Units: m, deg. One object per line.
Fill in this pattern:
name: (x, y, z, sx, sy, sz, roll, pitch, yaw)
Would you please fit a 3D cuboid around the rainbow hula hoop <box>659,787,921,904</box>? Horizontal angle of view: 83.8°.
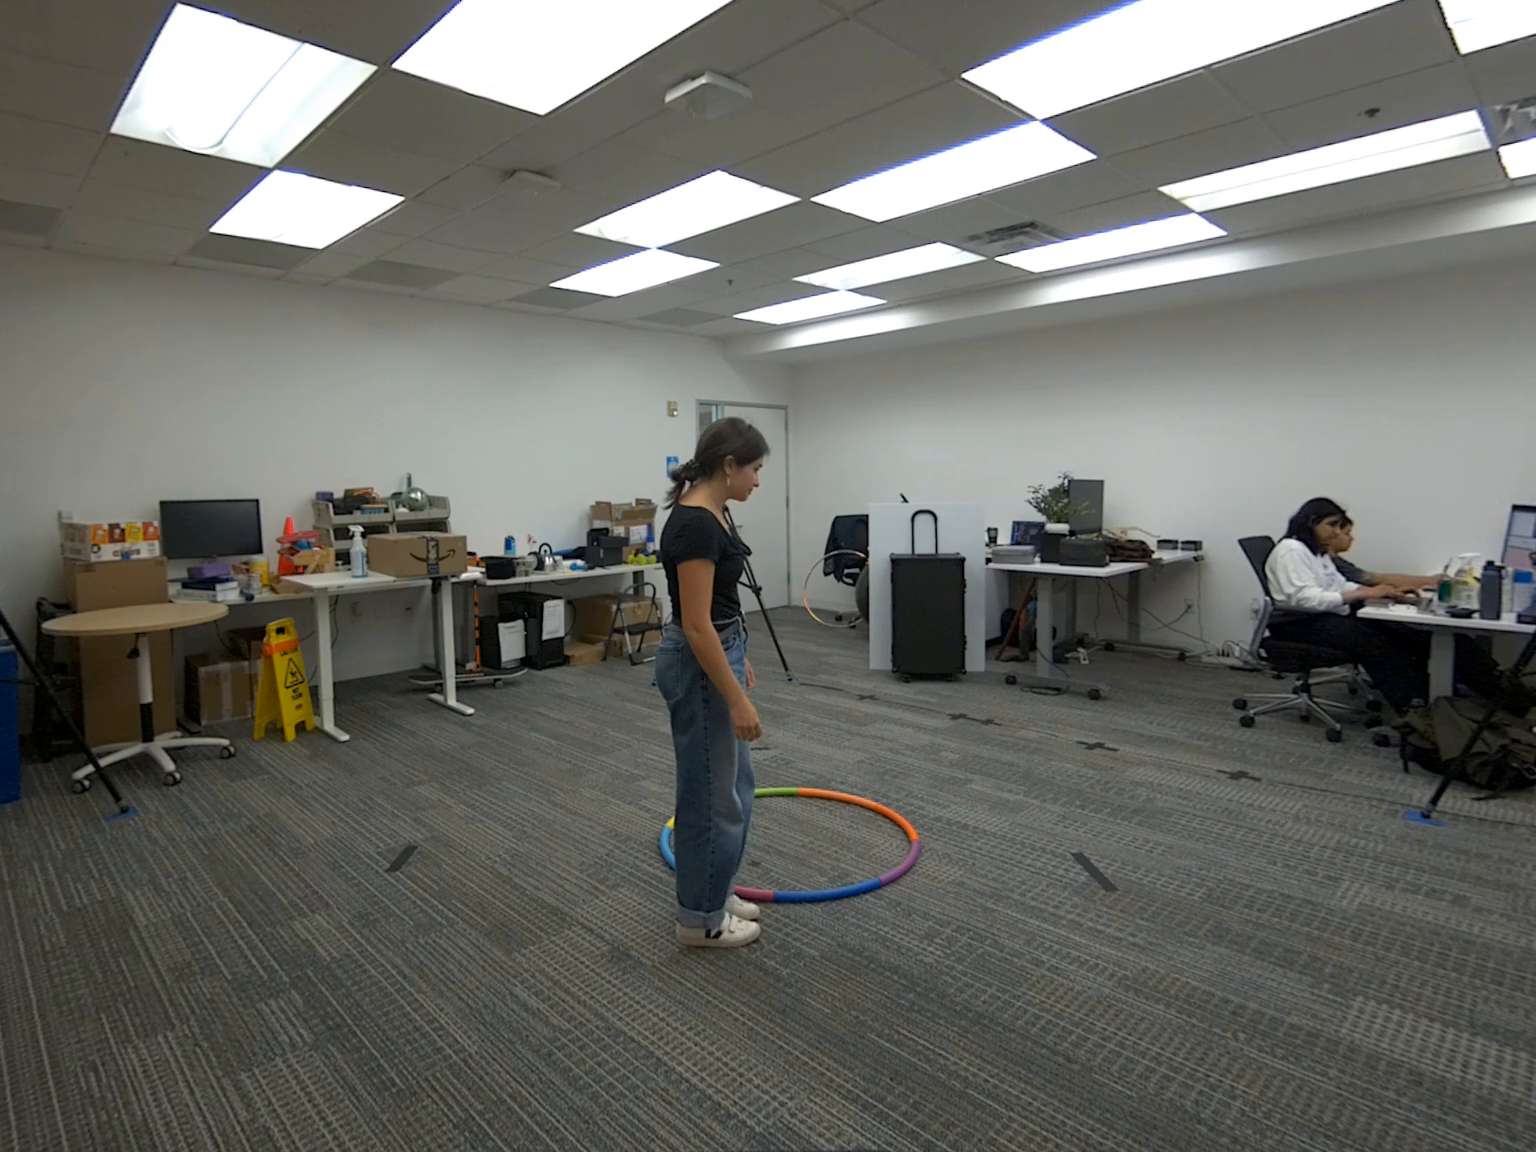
rainbow hula hoop: (0.073, 0.992, 3.294, 0.978, 0.035, 0.984, -1, 7, -2)
